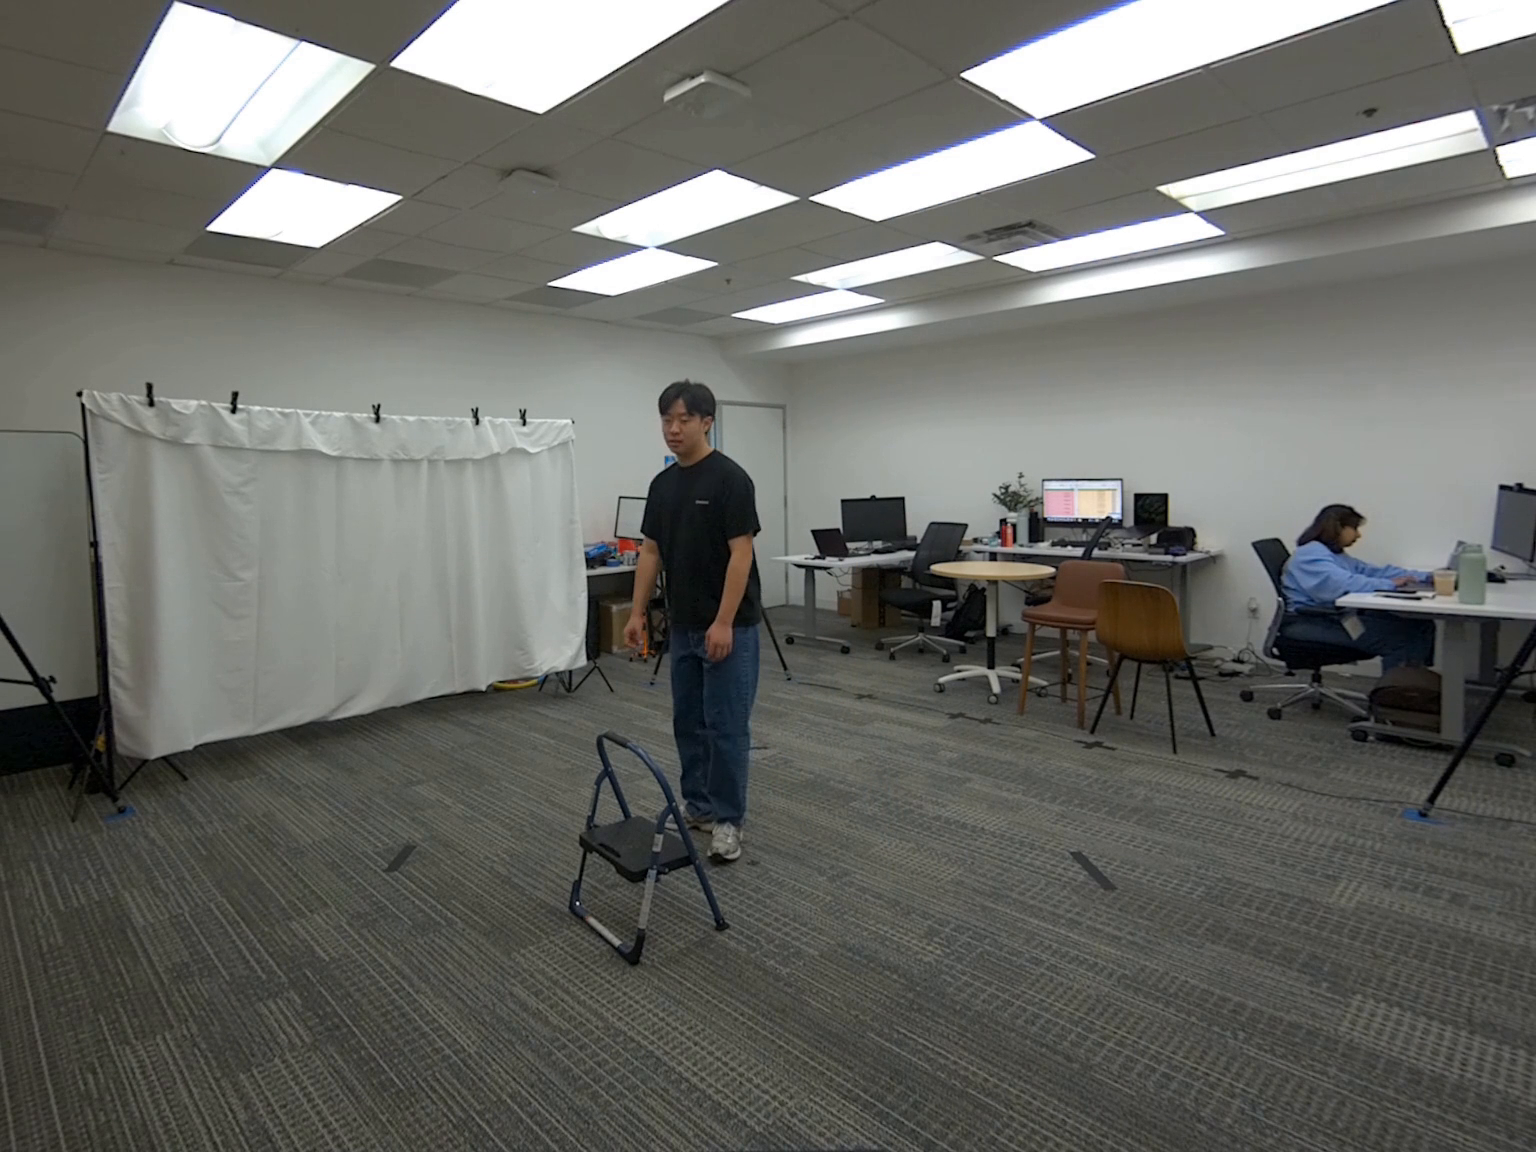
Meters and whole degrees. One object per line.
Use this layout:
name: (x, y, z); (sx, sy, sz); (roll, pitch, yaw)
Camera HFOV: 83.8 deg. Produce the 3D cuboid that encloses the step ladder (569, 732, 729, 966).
step ladder: (-0.394, 0.793, 2.704); (0.340, 0.603, 0.444); (-5, 6, -39)
